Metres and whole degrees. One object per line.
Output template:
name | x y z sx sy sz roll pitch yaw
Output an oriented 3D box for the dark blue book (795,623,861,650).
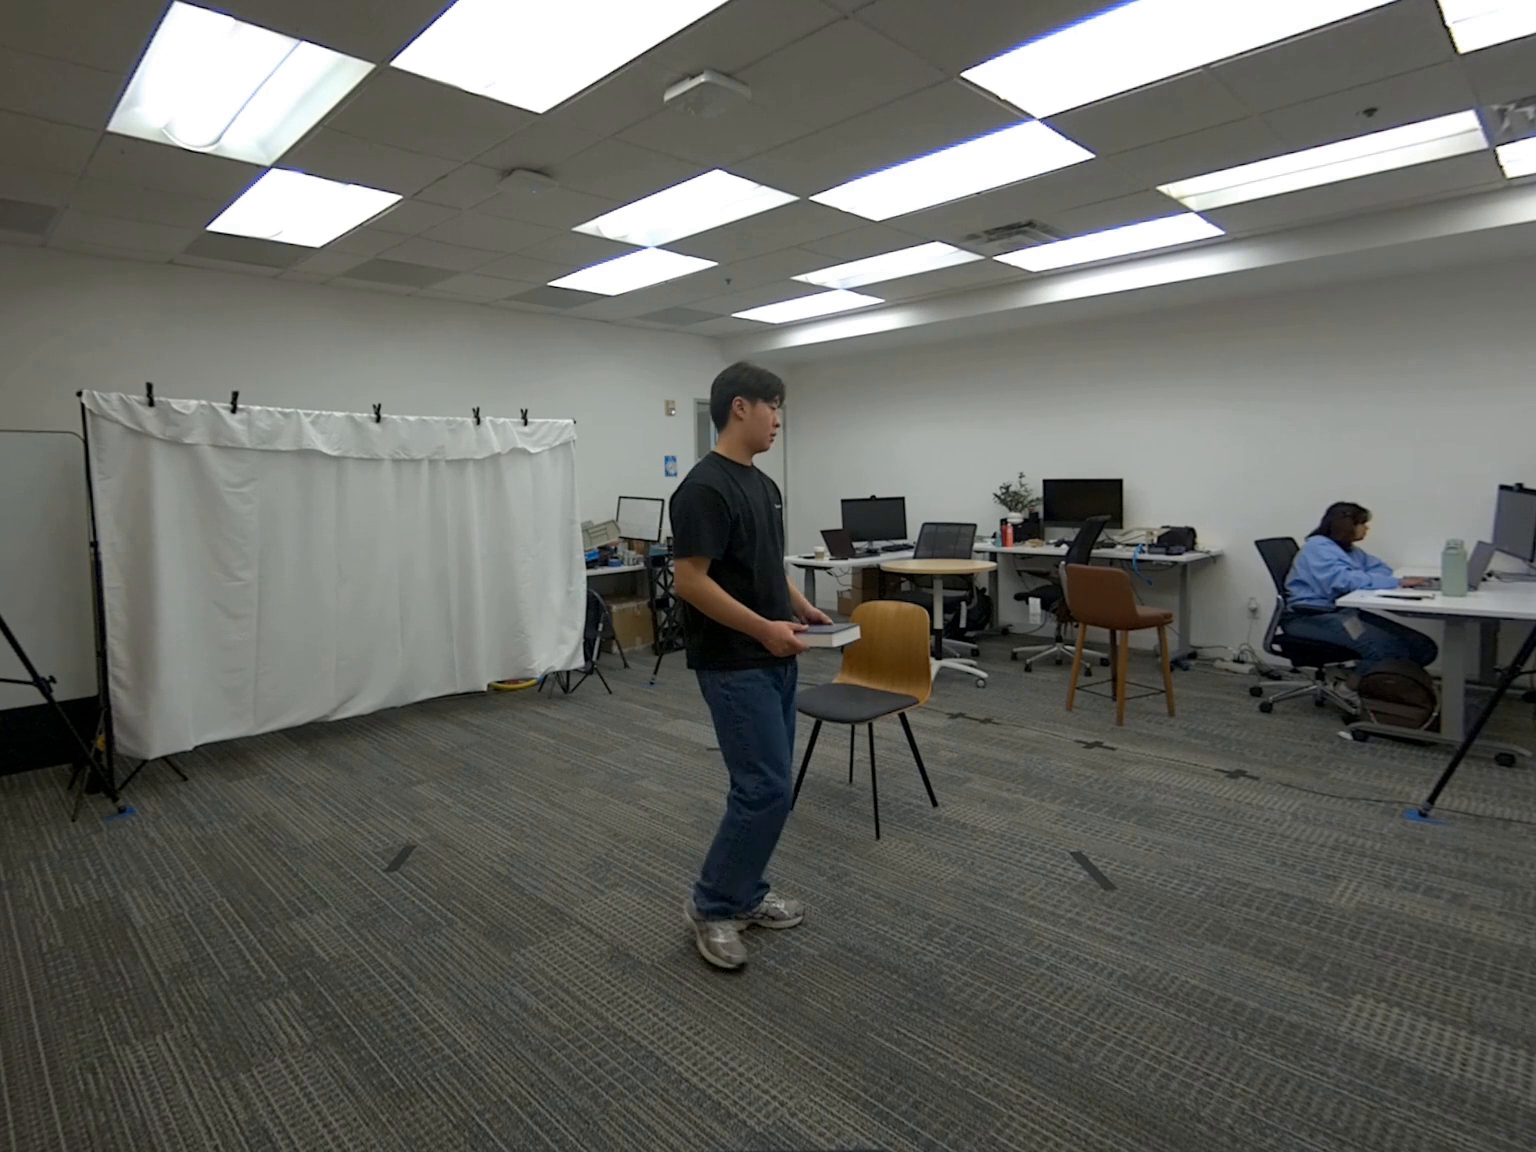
dark blue book | 0.150 0.178 2.481 0.167 0.045 0.240 -1 1 22
